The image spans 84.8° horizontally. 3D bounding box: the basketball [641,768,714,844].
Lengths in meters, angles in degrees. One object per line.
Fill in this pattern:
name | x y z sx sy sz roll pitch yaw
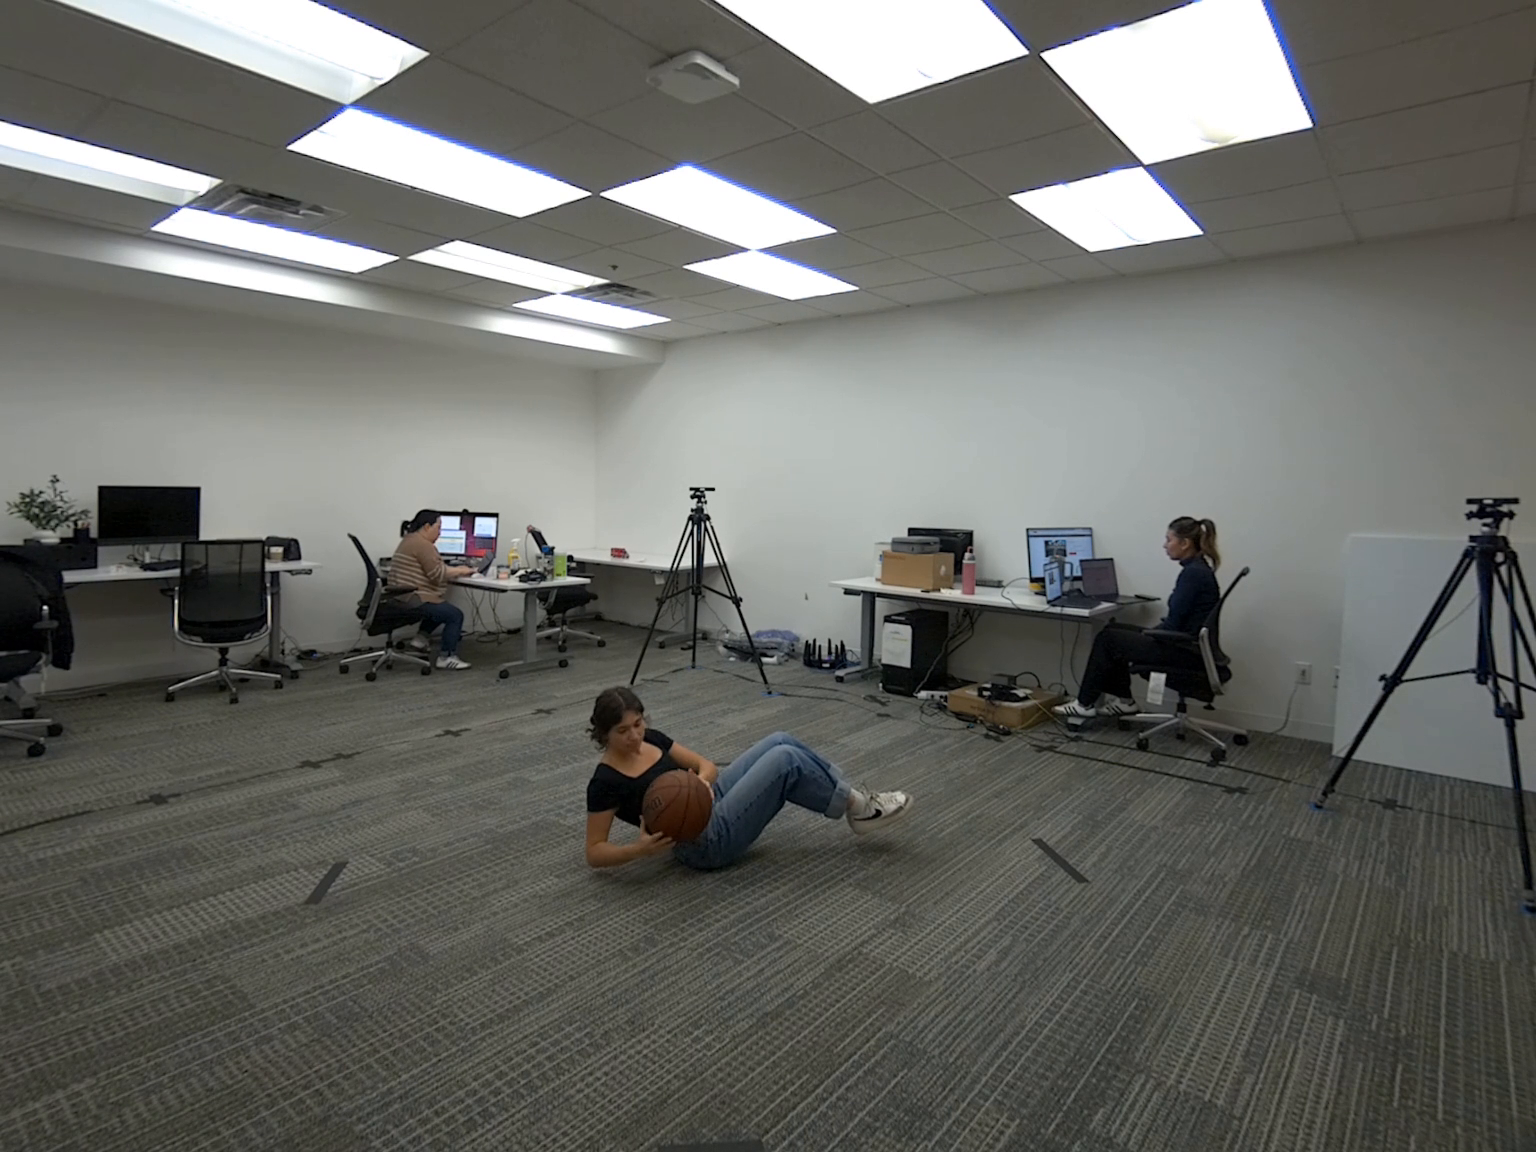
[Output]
basketball | -0.320 0.787 2.936 0.235 0.235 0.237 1 4 -2
